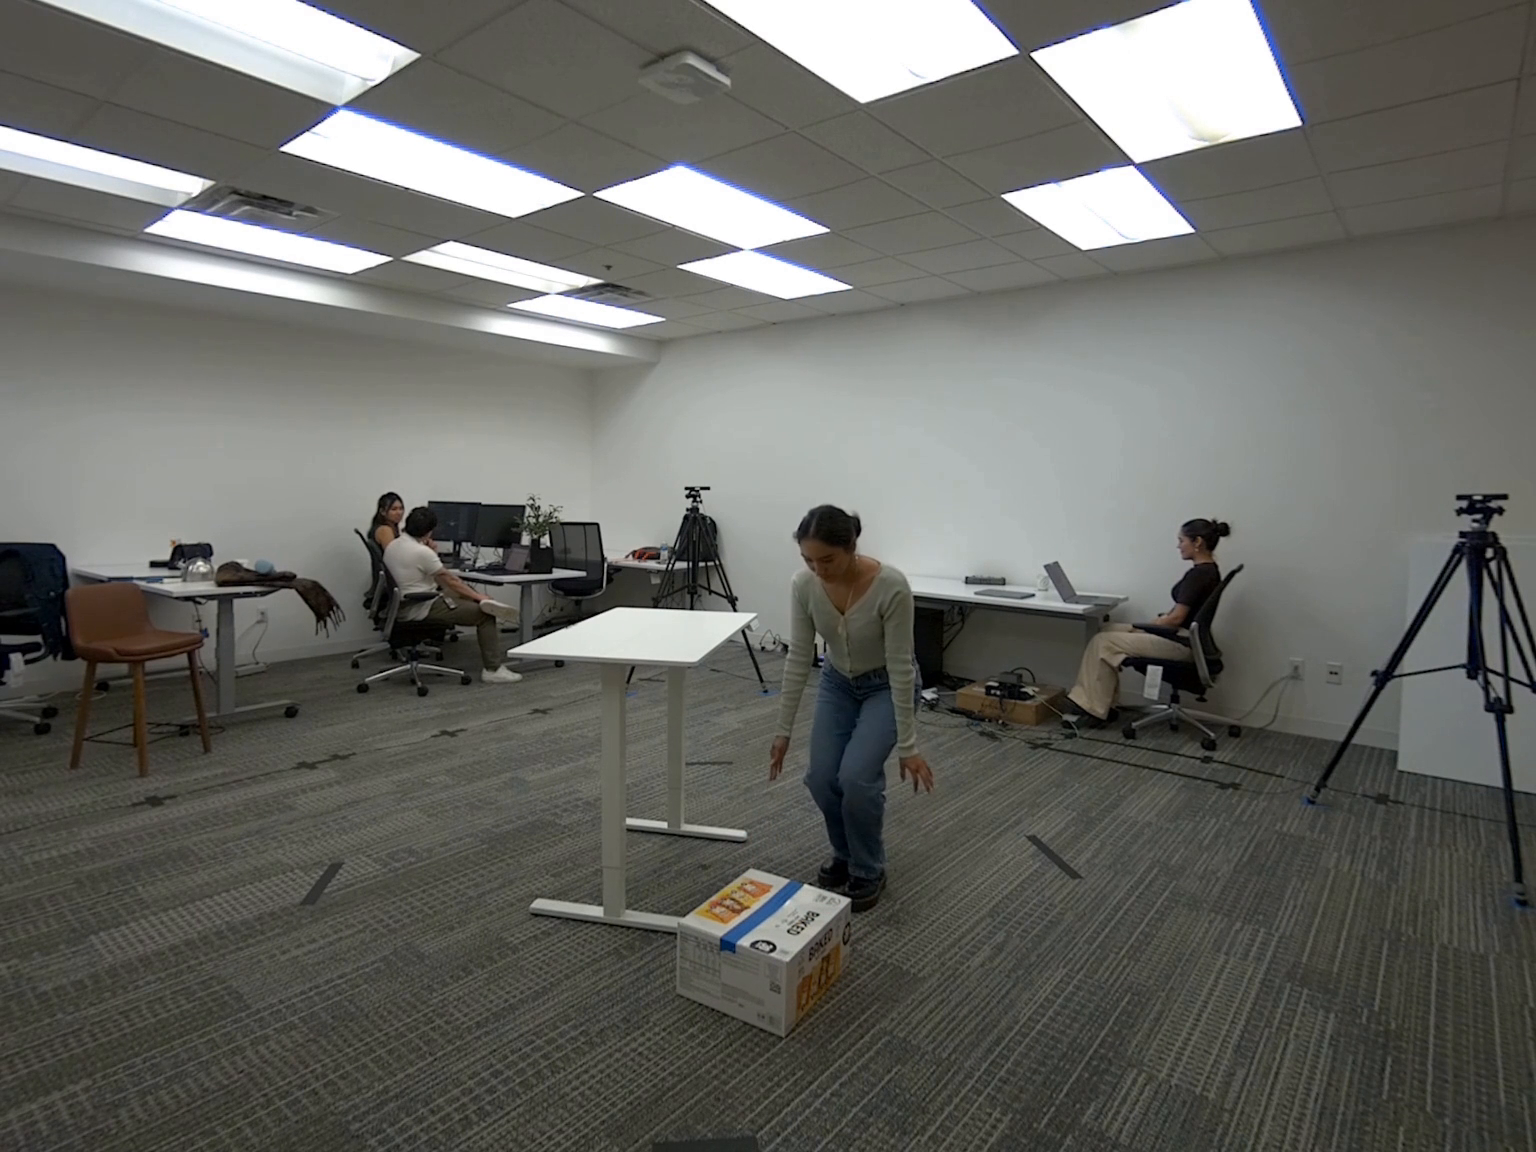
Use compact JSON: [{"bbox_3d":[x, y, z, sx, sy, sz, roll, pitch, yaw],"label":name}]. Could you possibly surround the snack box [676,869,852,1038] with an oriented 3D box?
[{"bbox_3d":[-0.011,1.041,2.396,0.350,0.205,0.395,4,6,30],"label":"snack box"}]
